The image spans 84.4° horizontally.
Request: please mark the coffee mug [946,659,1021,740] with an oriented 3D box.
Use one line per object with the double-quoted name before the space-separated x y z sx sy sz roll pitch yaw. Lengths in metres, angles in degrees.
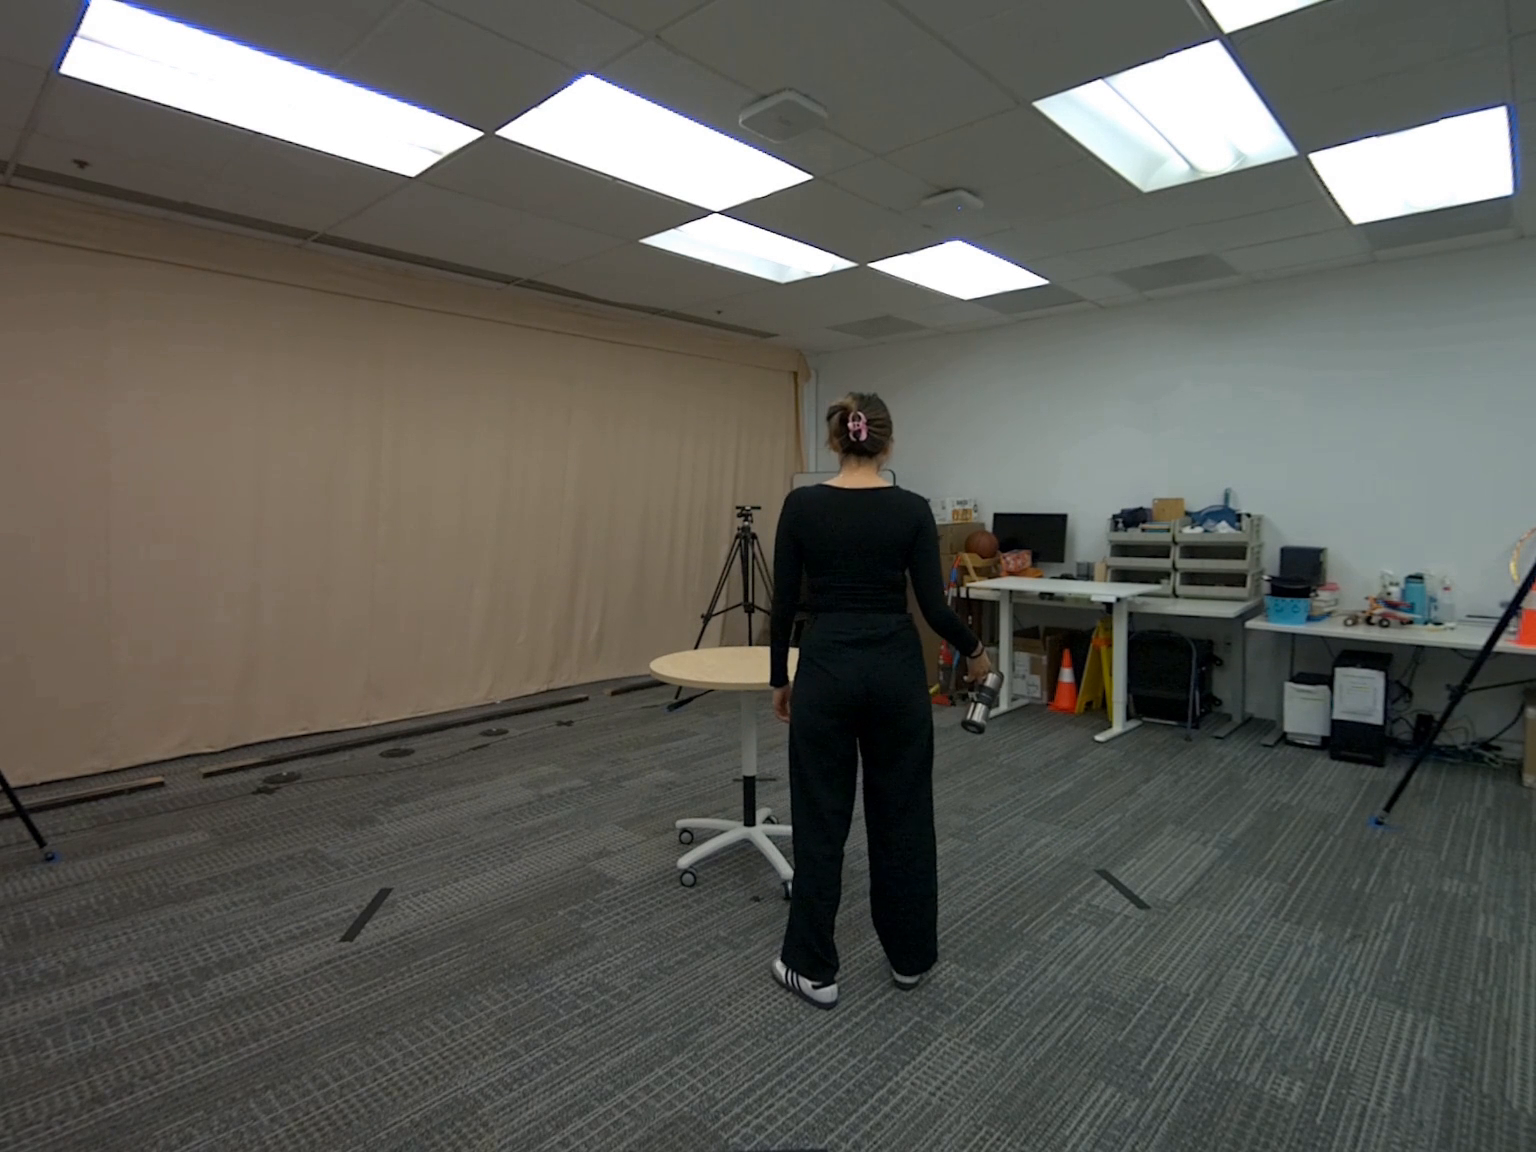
"coffee mug" 0.654 0.373 2.575 0.120 0.203 0.089 39 -23 -14
